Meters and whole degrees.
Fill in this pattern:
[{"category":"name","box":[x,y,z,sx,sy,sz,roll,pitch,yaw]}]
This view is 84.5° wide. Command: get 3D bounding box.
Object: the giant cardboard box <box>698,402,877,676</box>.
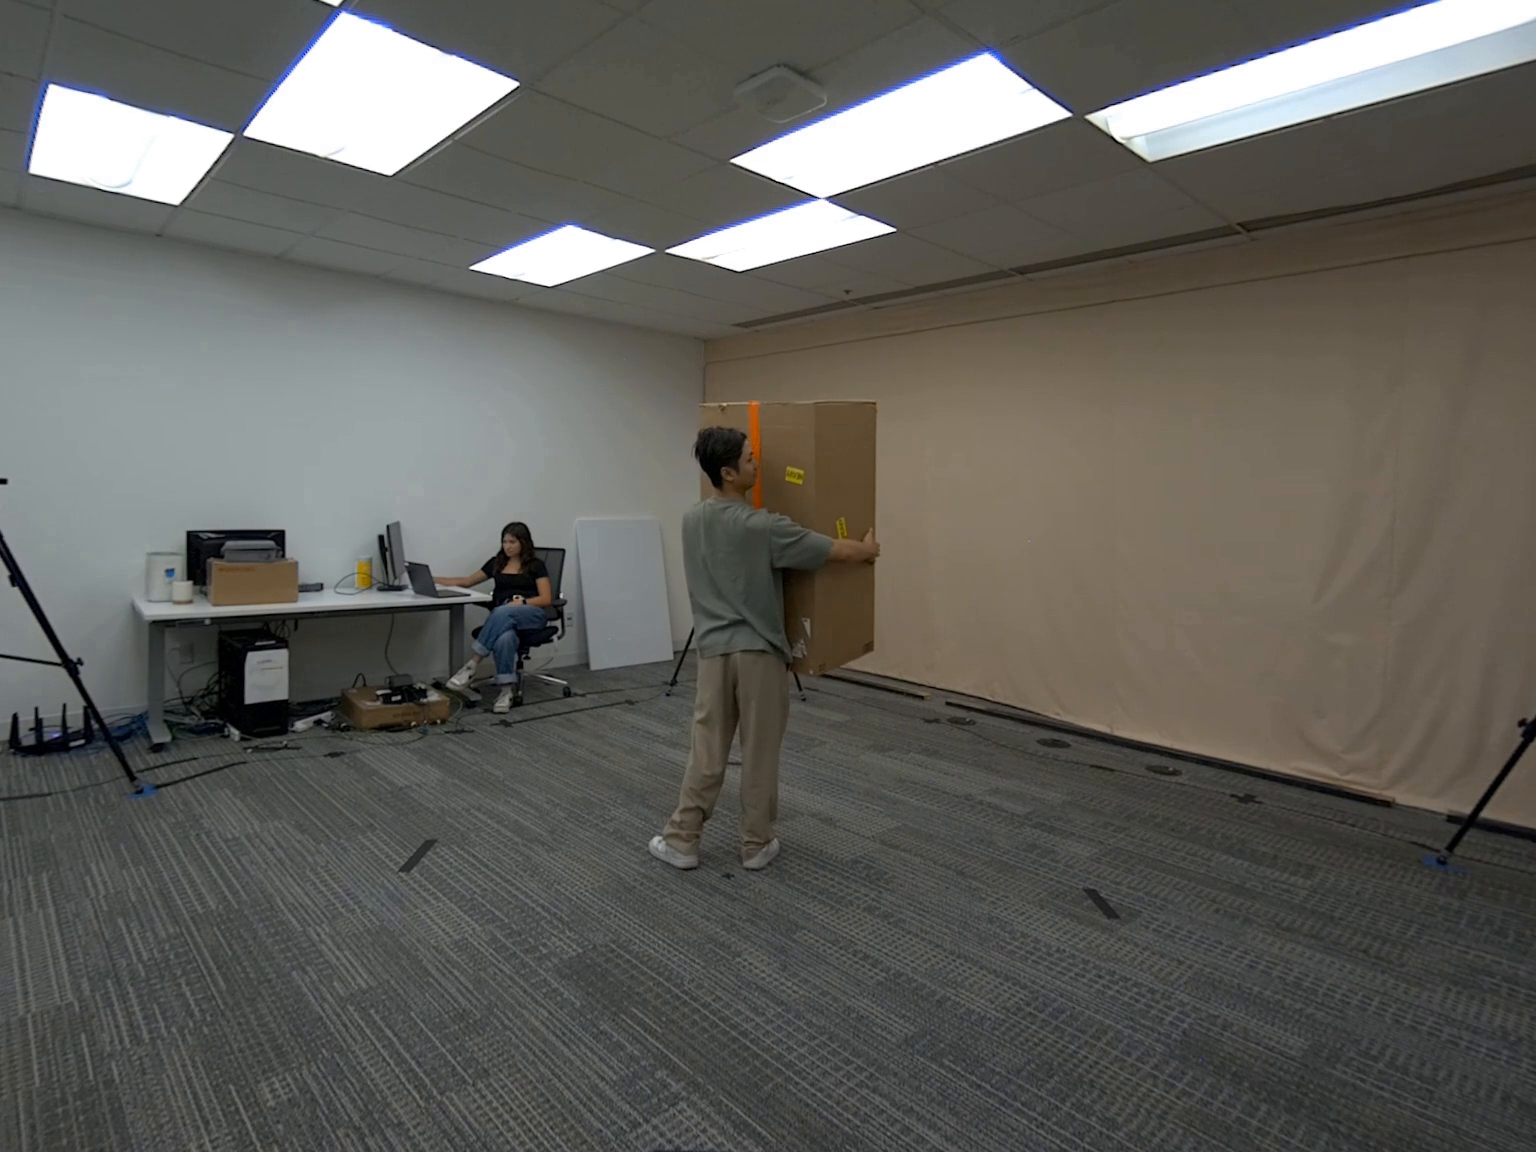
[{"category":"giant cardboard box","box":[0.073,-0.186,3.408,0.593,1.018,0.418,8,13,40]}]
